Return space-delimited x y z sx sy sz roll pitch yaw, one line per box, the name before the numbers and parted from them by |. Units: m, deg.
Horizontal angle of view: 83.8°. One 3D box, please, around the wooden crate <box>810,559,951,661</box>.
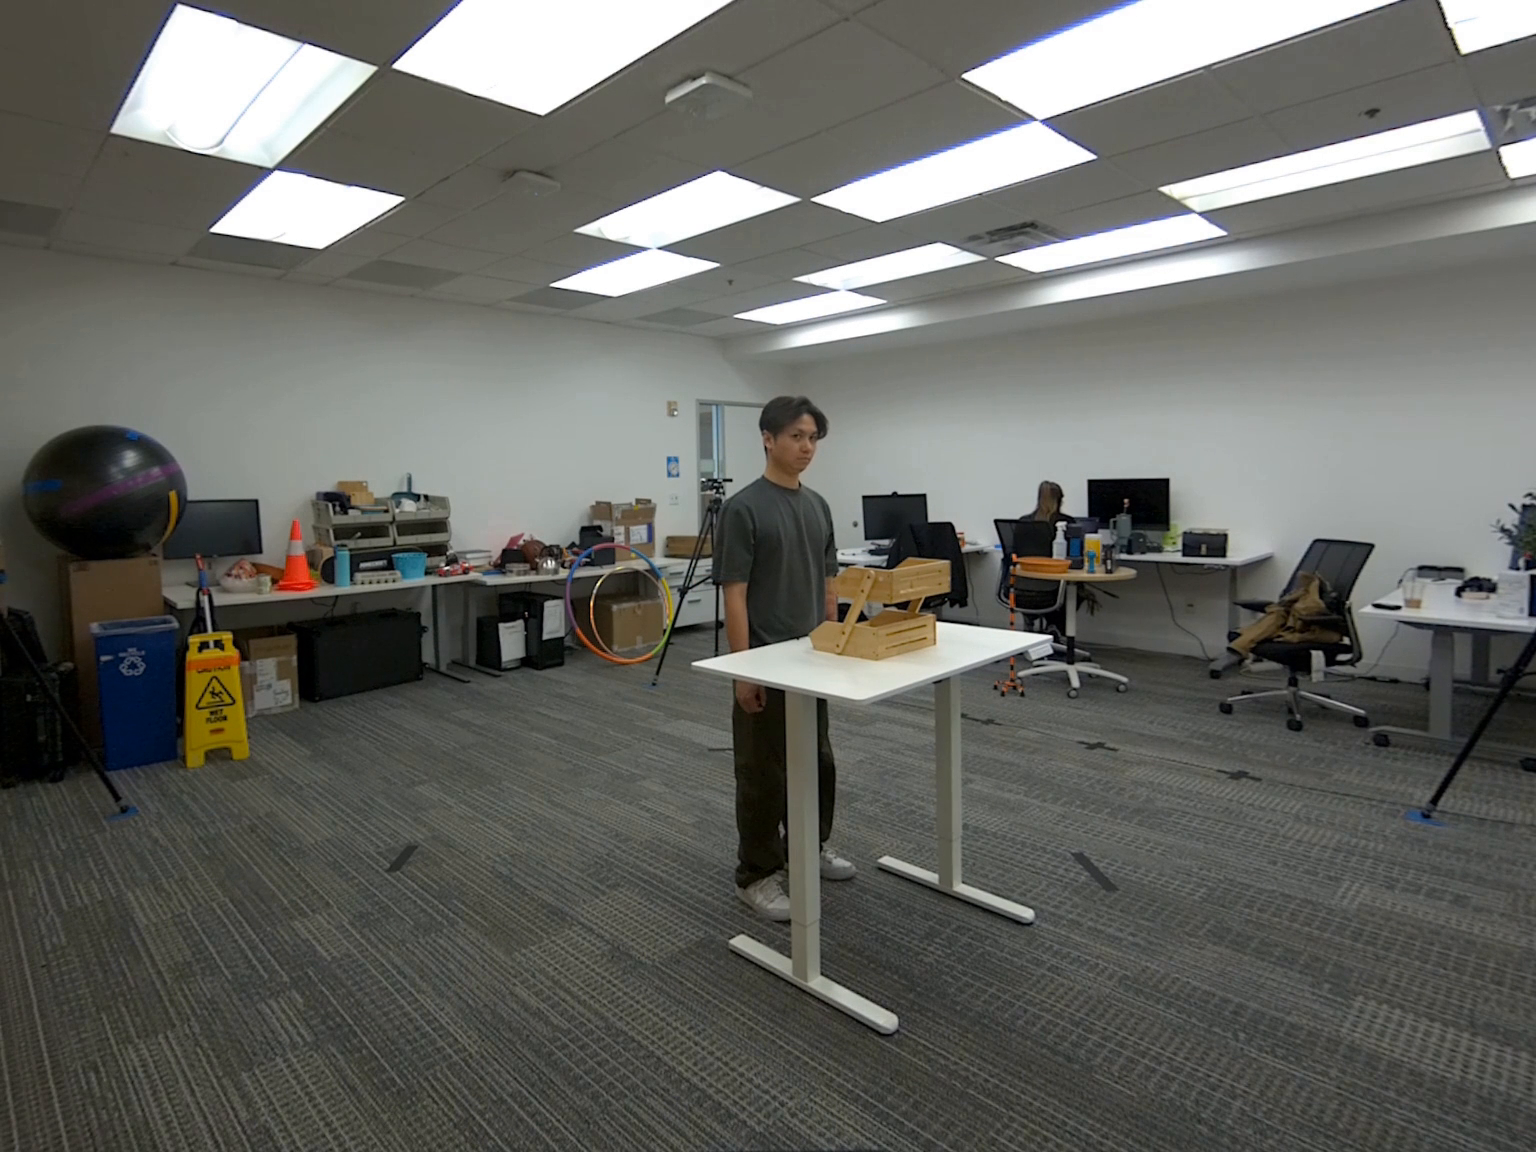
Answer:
wooden crate | 0.337 0.084 2.559 0.316 0.272 0.311 -7 9 -44
